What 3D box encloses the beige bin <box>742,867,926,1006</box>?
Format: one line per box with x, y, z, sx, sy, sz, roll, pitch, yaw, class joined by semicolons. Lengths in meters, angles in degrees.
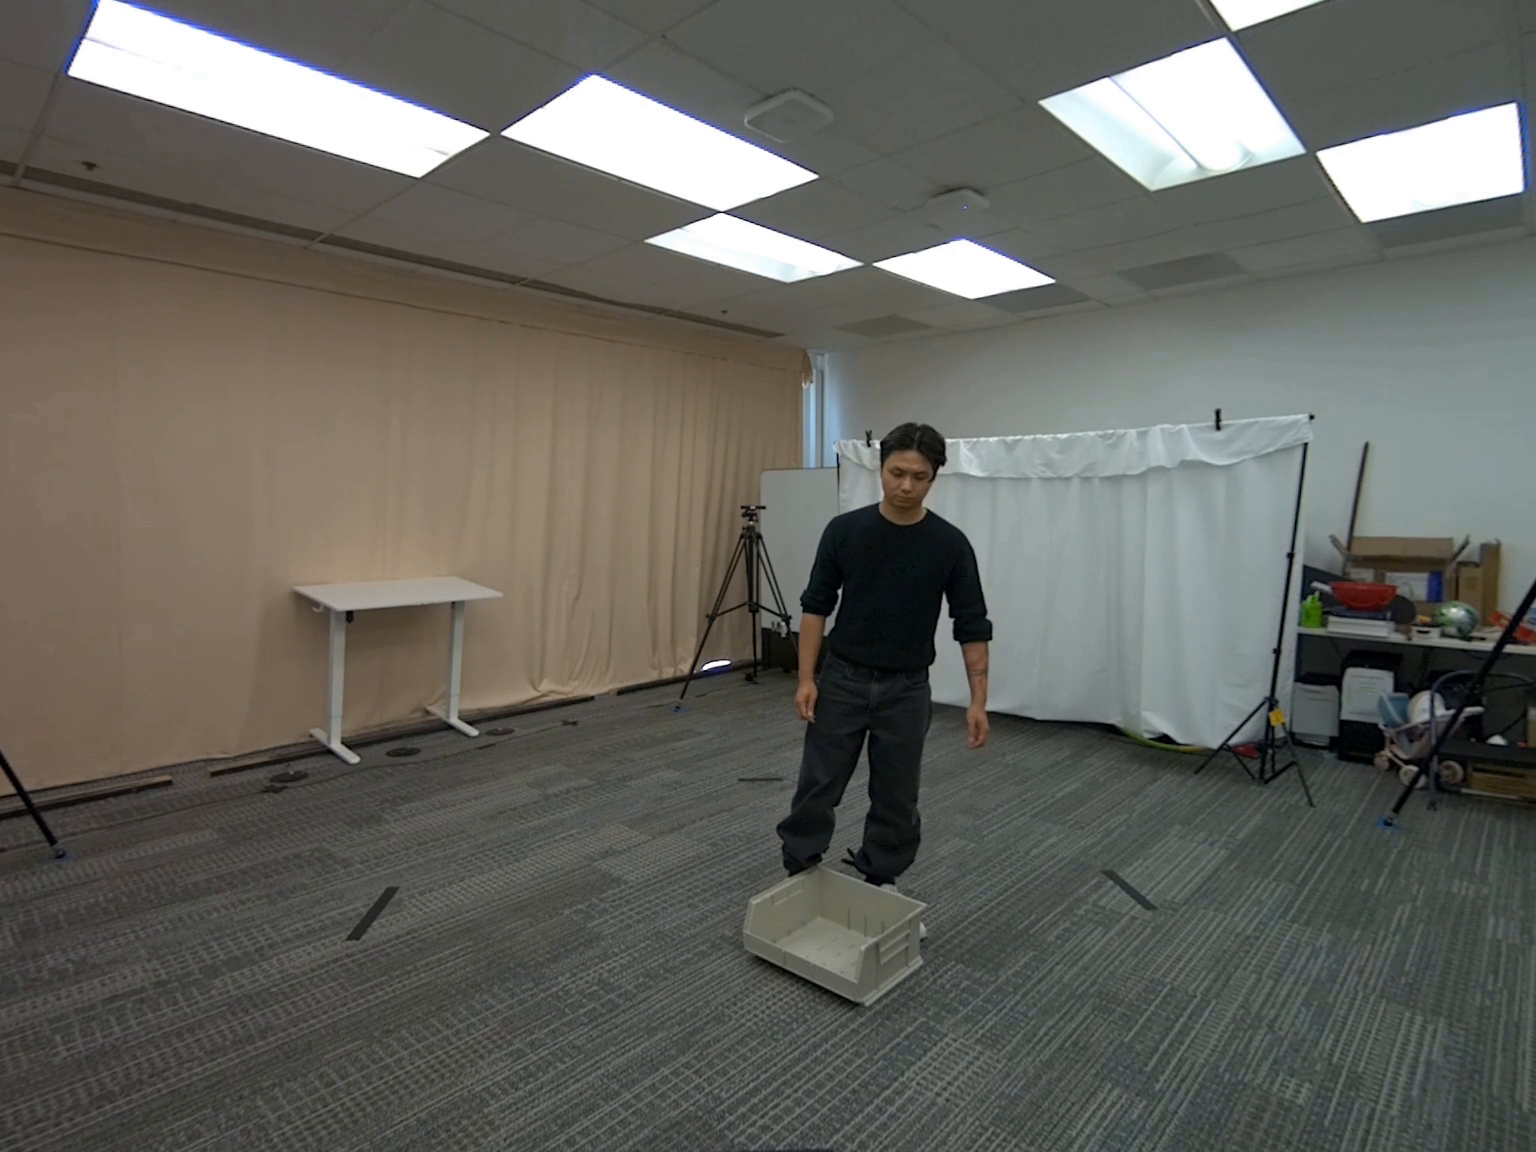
0.211;1.093;2.565;0.436;0.189;0.366;3;4;42;beige bin
